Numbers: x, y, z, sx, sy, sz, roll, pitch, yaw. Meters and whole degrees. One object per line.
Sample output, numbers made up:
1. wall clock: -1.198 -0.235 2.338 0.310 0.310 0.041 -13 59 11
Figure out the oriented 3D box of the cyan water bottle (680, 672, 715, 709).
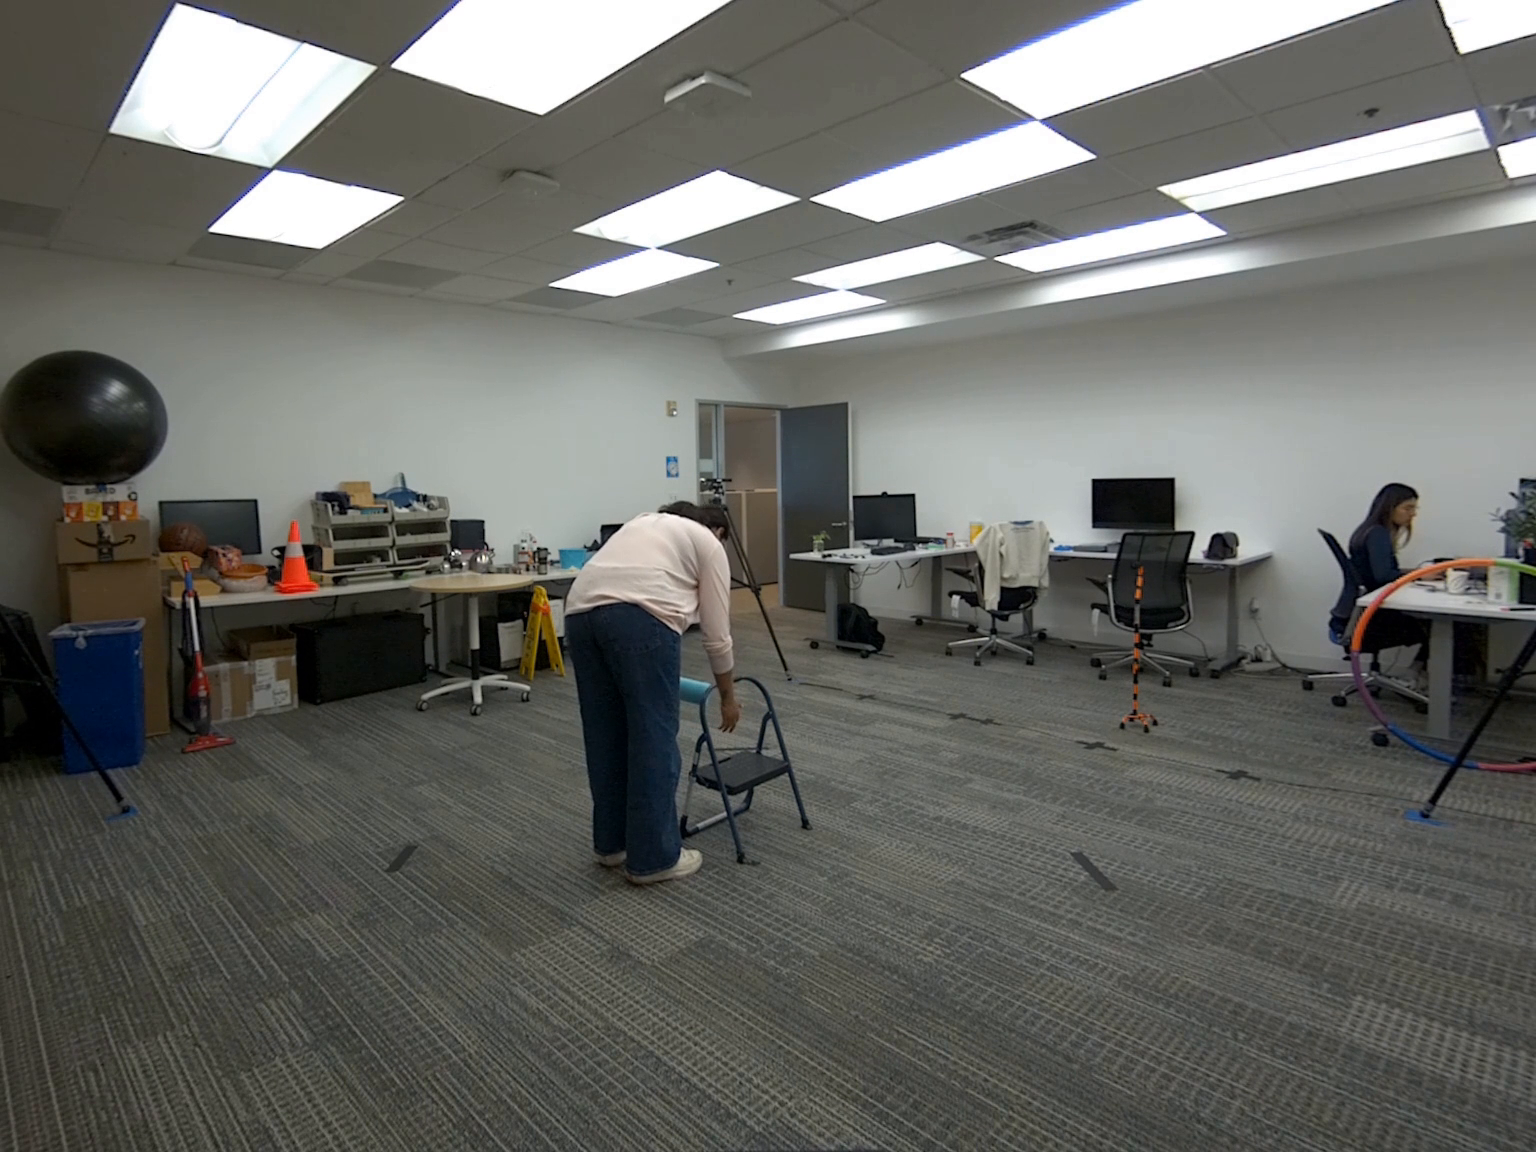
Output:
1. cyan water bottle: -0.373 0.442 3.447 0.288 0.092 0.091 11 8 14
